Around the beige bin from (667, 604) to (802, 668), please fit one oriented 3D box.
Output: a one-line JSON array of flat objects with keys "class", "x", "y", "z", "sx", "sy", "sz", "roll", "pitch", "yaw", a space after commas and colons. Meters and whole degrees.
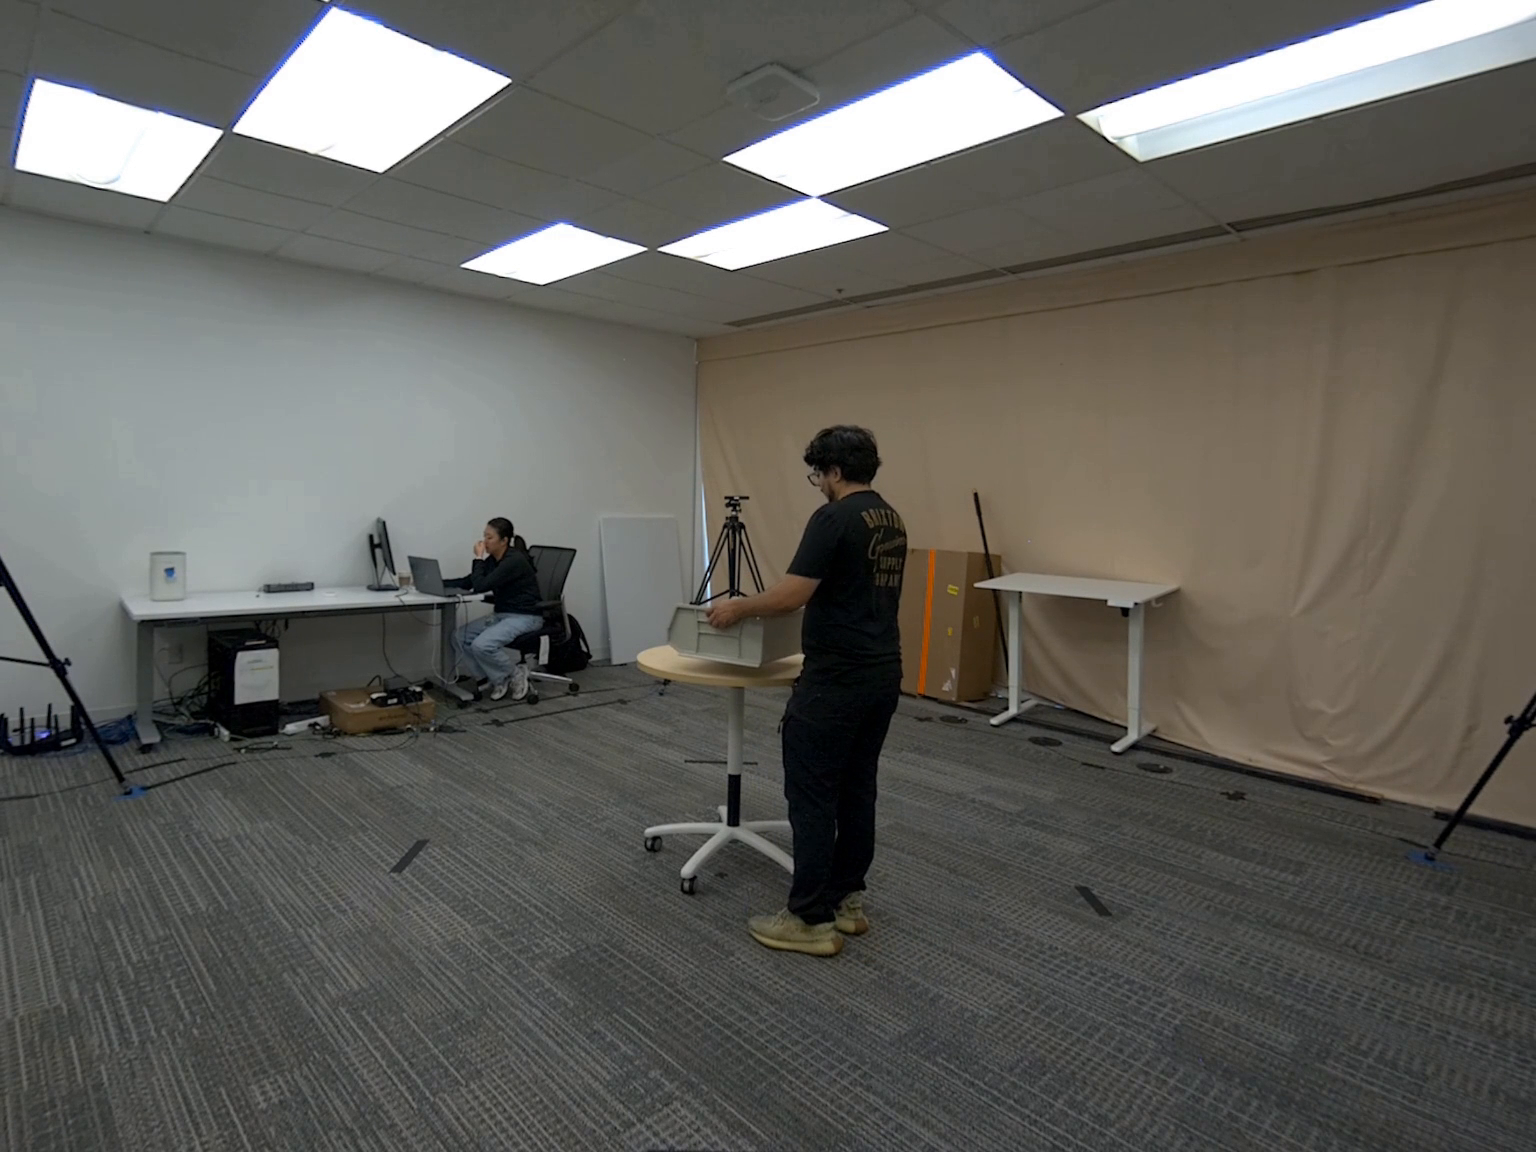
[{"class": "beige bin", "x": -0.095, "y": 0.188, "z": 3.009, "sx": 0.385, "sy": 0.188, "sz": 0.414, "roll": 7, "pitch": 5, "yaw": 26}]
